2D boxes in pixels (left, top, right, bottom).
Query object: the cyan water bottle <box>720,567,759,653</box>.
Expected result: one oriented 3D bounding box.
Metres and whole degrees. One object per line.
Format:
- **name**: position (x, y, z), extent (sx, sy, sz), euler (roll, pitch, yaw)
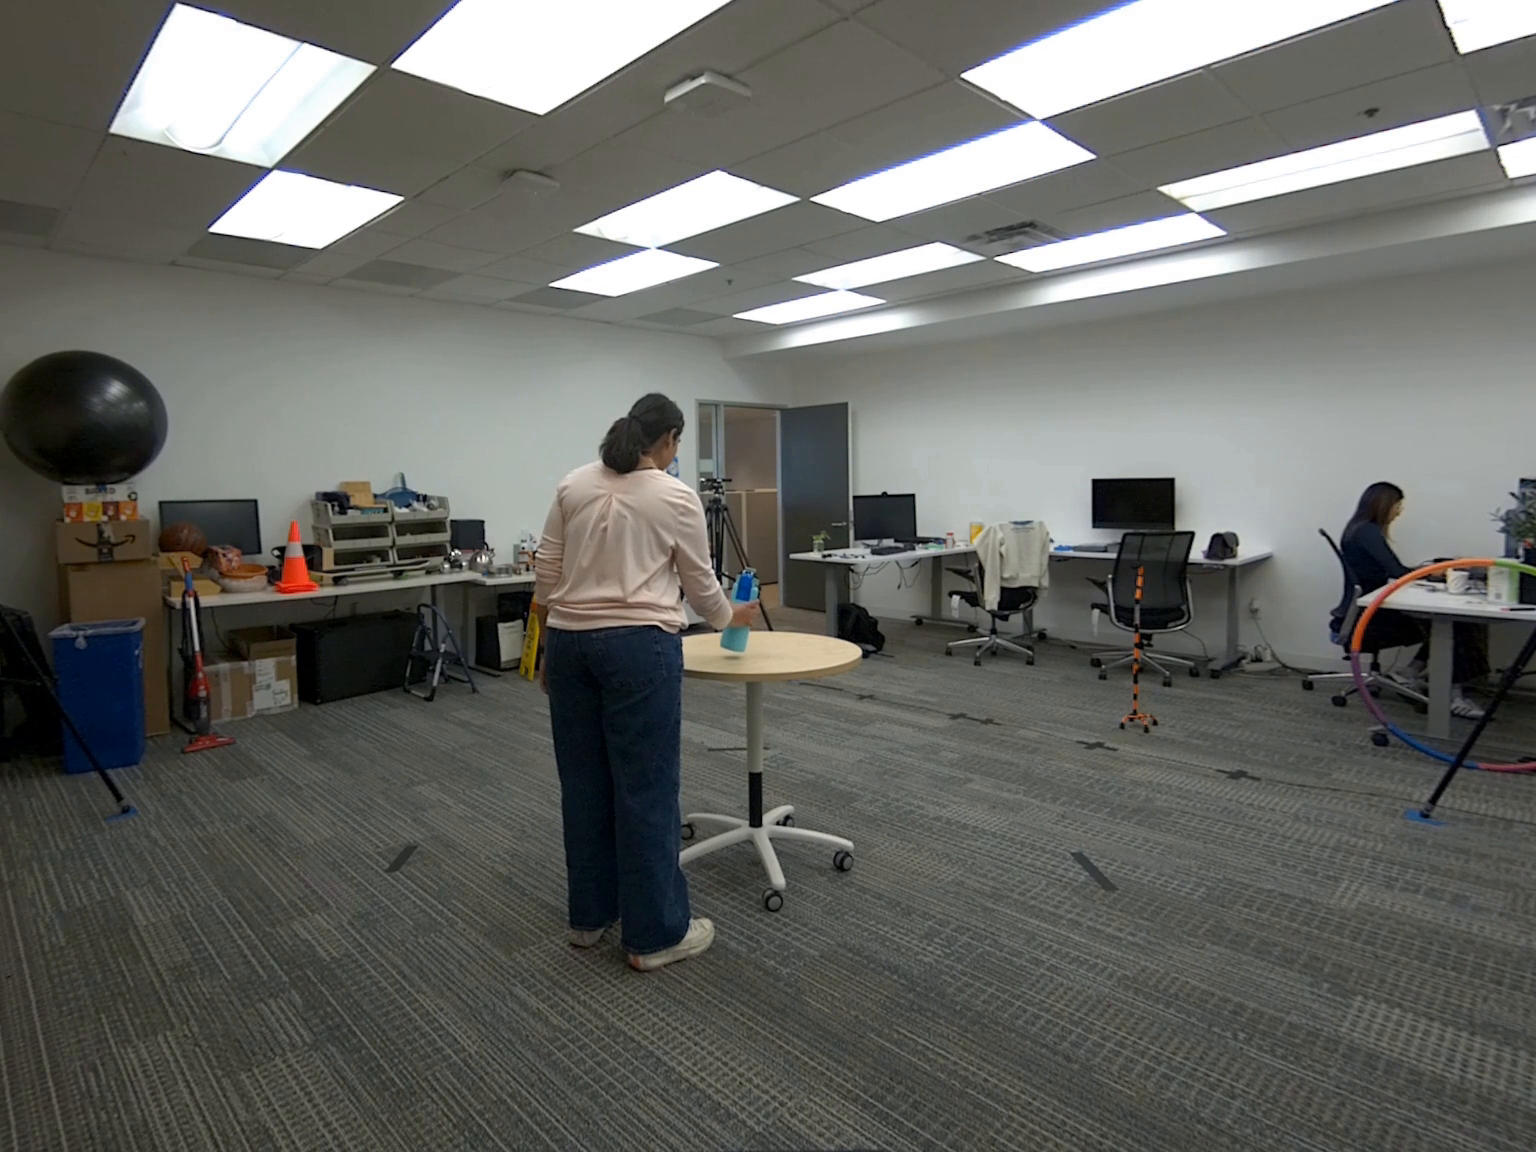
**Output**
- **cyan water bottle**: position (-0.090, 0.115, 2.923), extent (0.092, 0.283, 0.092), euler (9, 1, -2)
